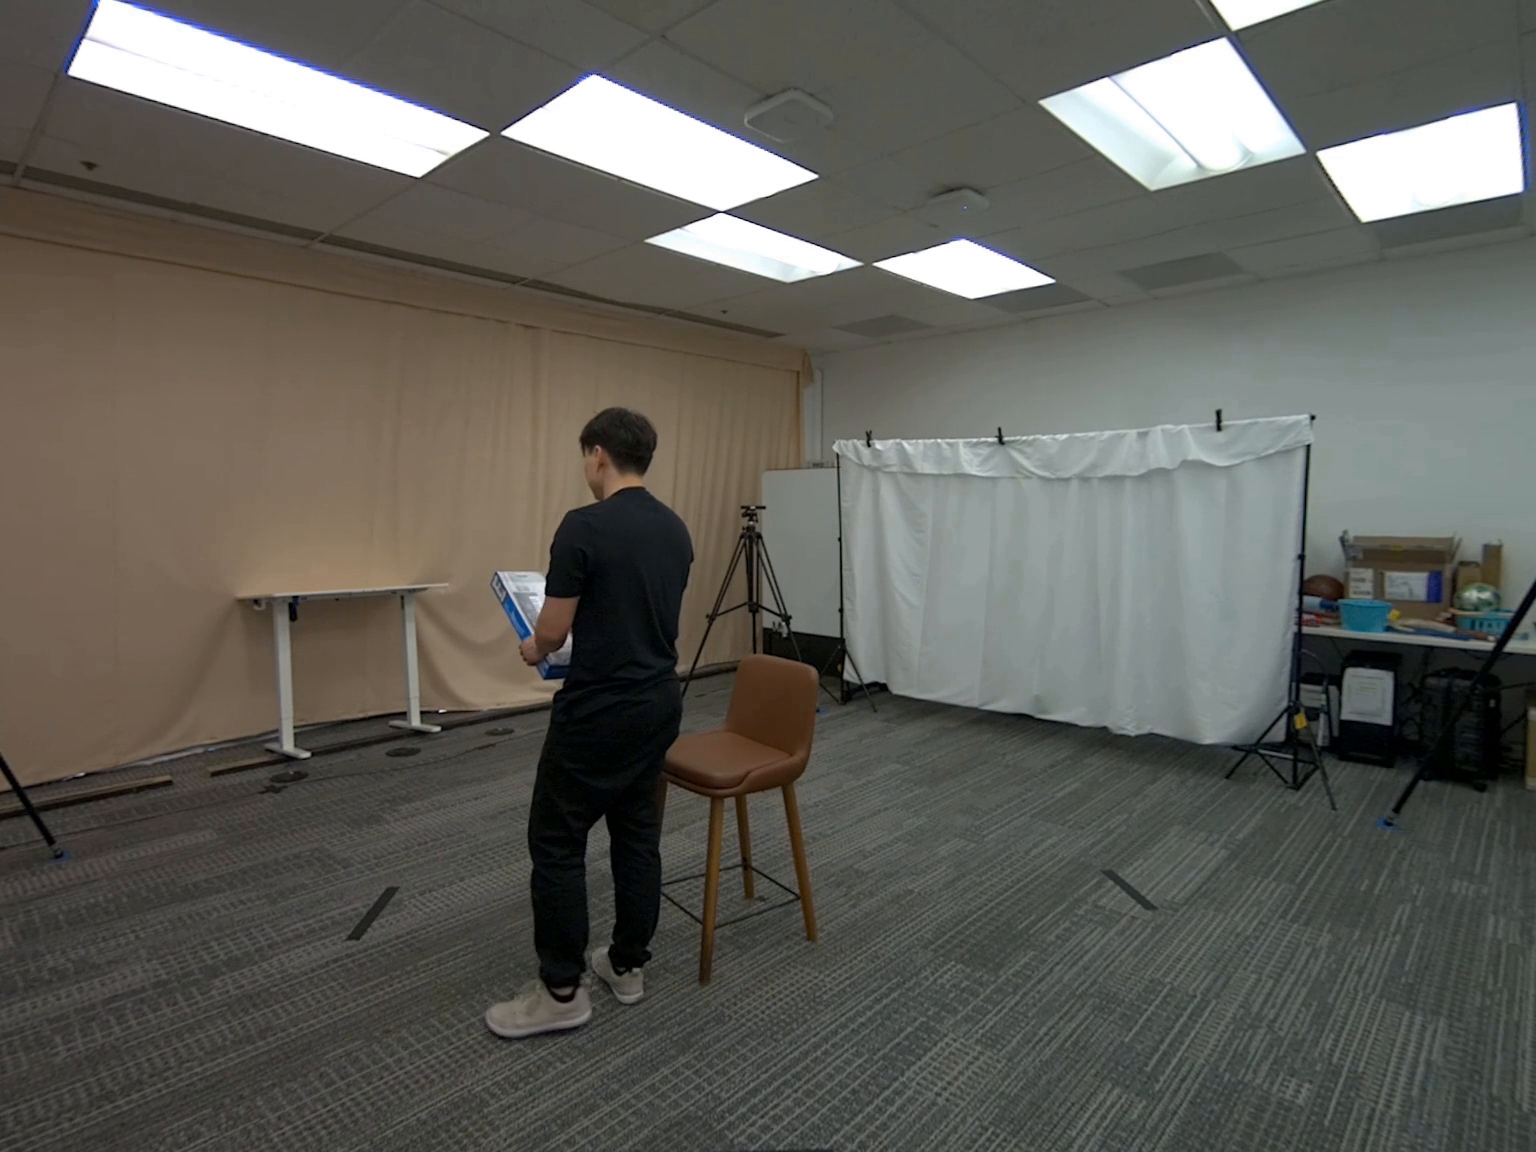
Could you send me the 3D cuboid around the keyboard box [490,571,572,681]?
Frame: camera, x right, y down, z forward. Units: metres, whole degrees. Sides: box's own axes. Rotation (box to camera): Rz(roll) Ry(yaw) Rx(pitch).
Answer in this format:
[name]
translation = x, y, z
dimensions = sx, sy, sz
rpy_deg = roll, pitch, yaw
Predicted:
[keyboard box]
translation = -0.703, 0.146, 2.622
dimensions = 0.170, 0.059, 0.451
rpy_deg = 2, 37, -44
